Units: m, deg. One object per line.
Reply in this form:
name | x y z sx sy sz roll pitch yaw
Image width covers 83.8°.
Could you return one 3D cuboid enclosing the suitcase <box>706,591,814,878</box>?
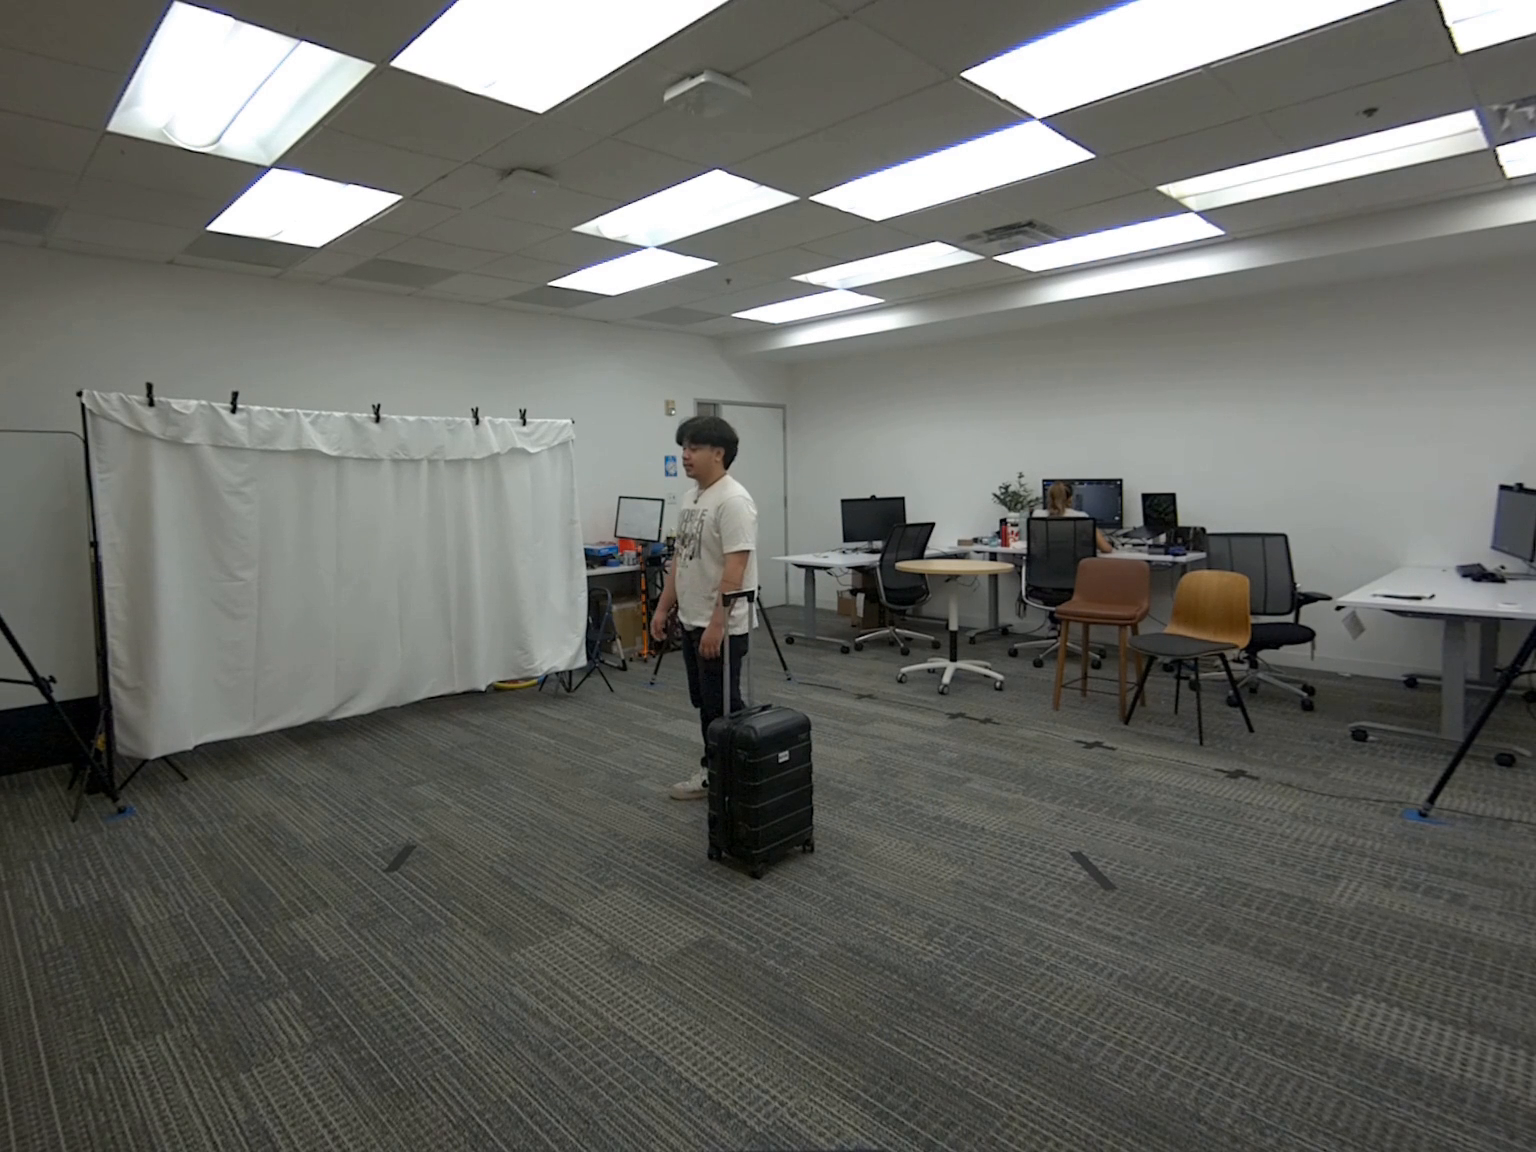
suitcase | -0.016 0.564 3.114 0.265 0.973 0.374 8 9 44
